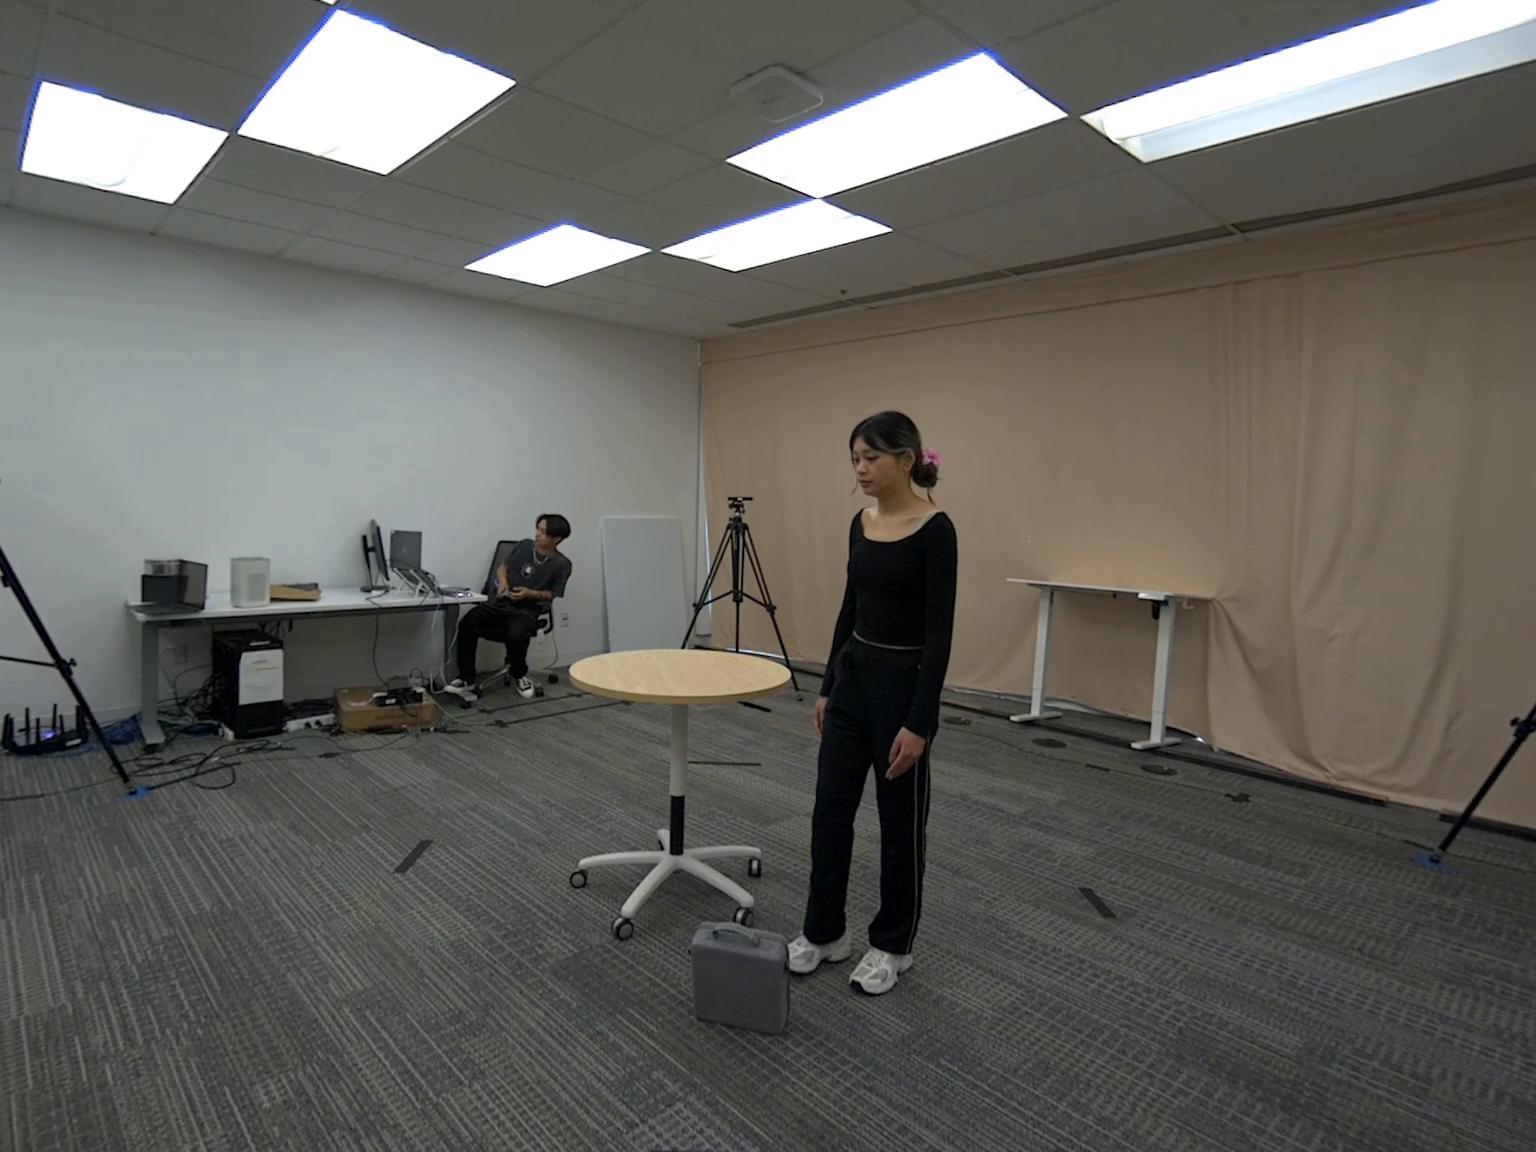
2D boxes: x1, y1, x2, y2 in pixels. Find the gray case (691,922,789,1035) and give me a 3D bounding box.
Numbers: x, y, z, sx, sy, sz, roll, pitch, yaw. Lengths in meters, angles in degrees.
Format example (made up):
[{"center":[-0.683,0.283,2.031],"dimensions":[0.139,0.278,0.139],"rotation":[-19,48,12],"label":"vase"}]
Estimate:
[{"center":[-0.075,1.060,2.224],"dimensions":[0.260,0.258,0.104],"rotation":[2,14,16],"label":"gray case"}]
